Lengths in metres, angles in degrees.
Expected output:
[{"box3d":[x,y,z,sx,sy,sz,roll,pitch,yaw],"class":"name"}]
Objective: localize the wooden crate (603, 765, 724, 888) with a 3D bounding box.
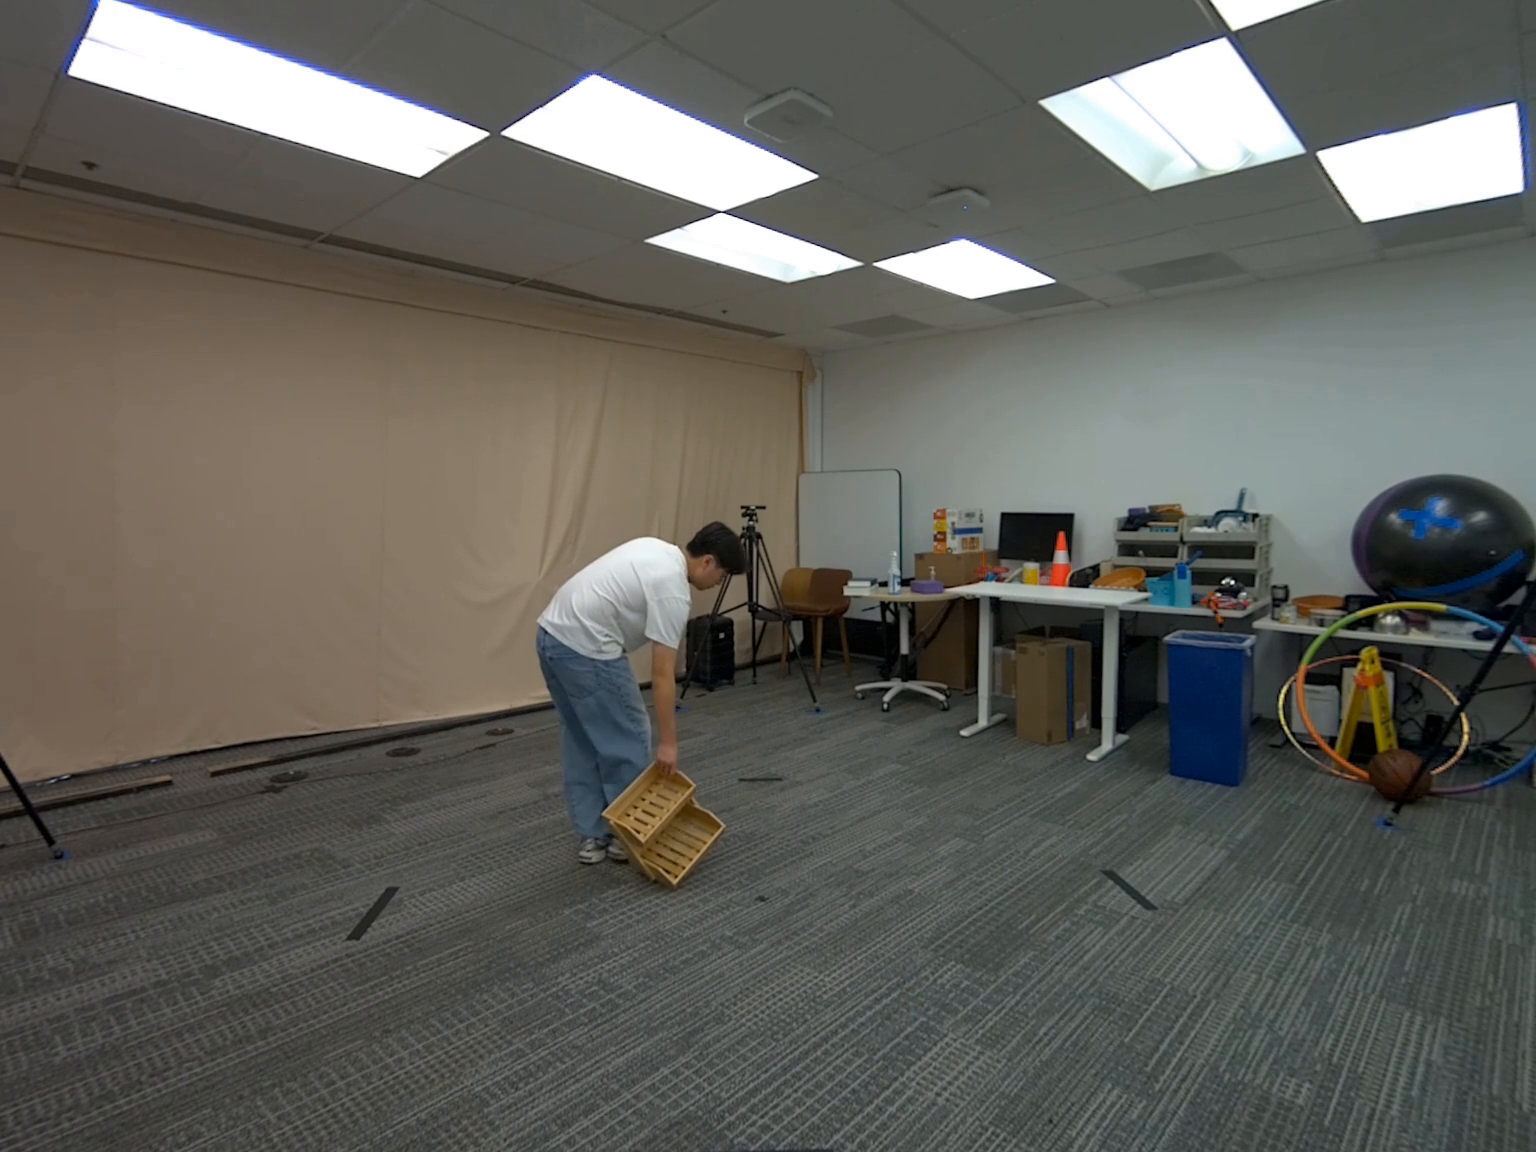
[{"box3d":[-0.379,0.931,3.158,0.312,0.267,0.320,9,38,40],"class":"wooden crate"}]
